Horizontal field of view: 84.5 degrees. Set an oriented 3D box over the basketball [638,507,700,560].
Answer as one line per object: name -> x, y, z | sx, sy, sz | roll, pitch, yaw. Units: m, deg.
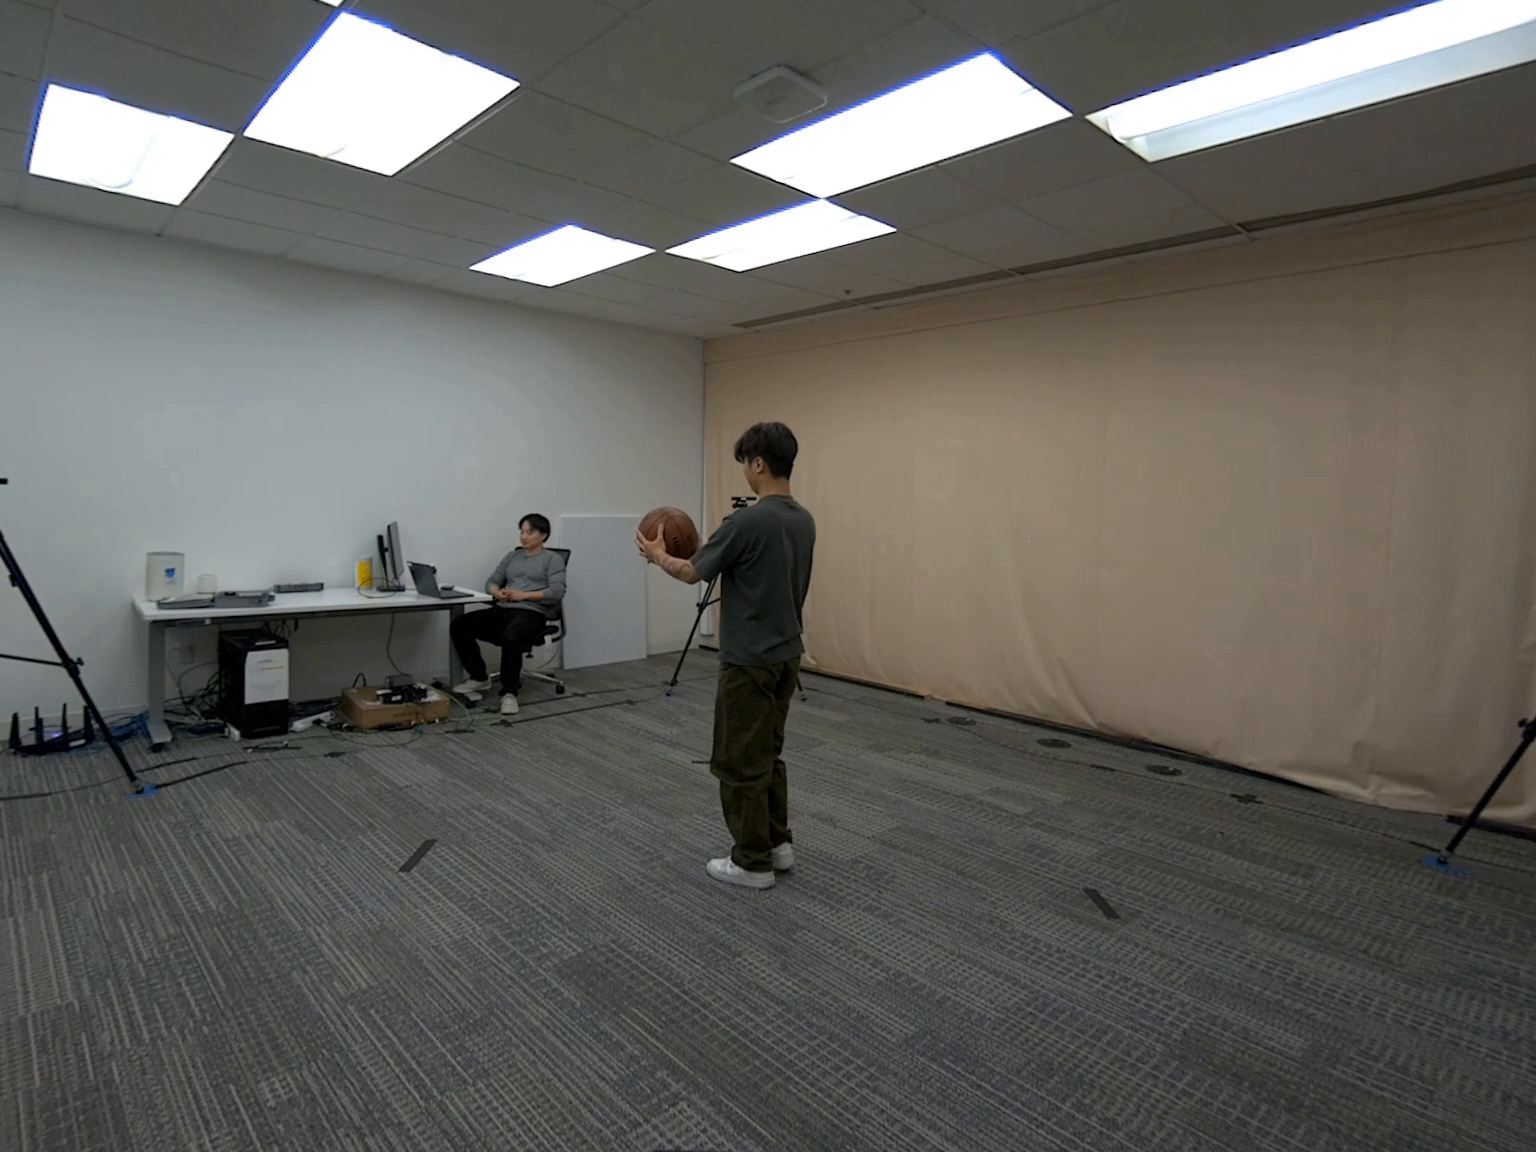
basketball -> -0.401, -0.152, 3.355 | 0.236, 0.235, 0.237 | 1, 4, -1
